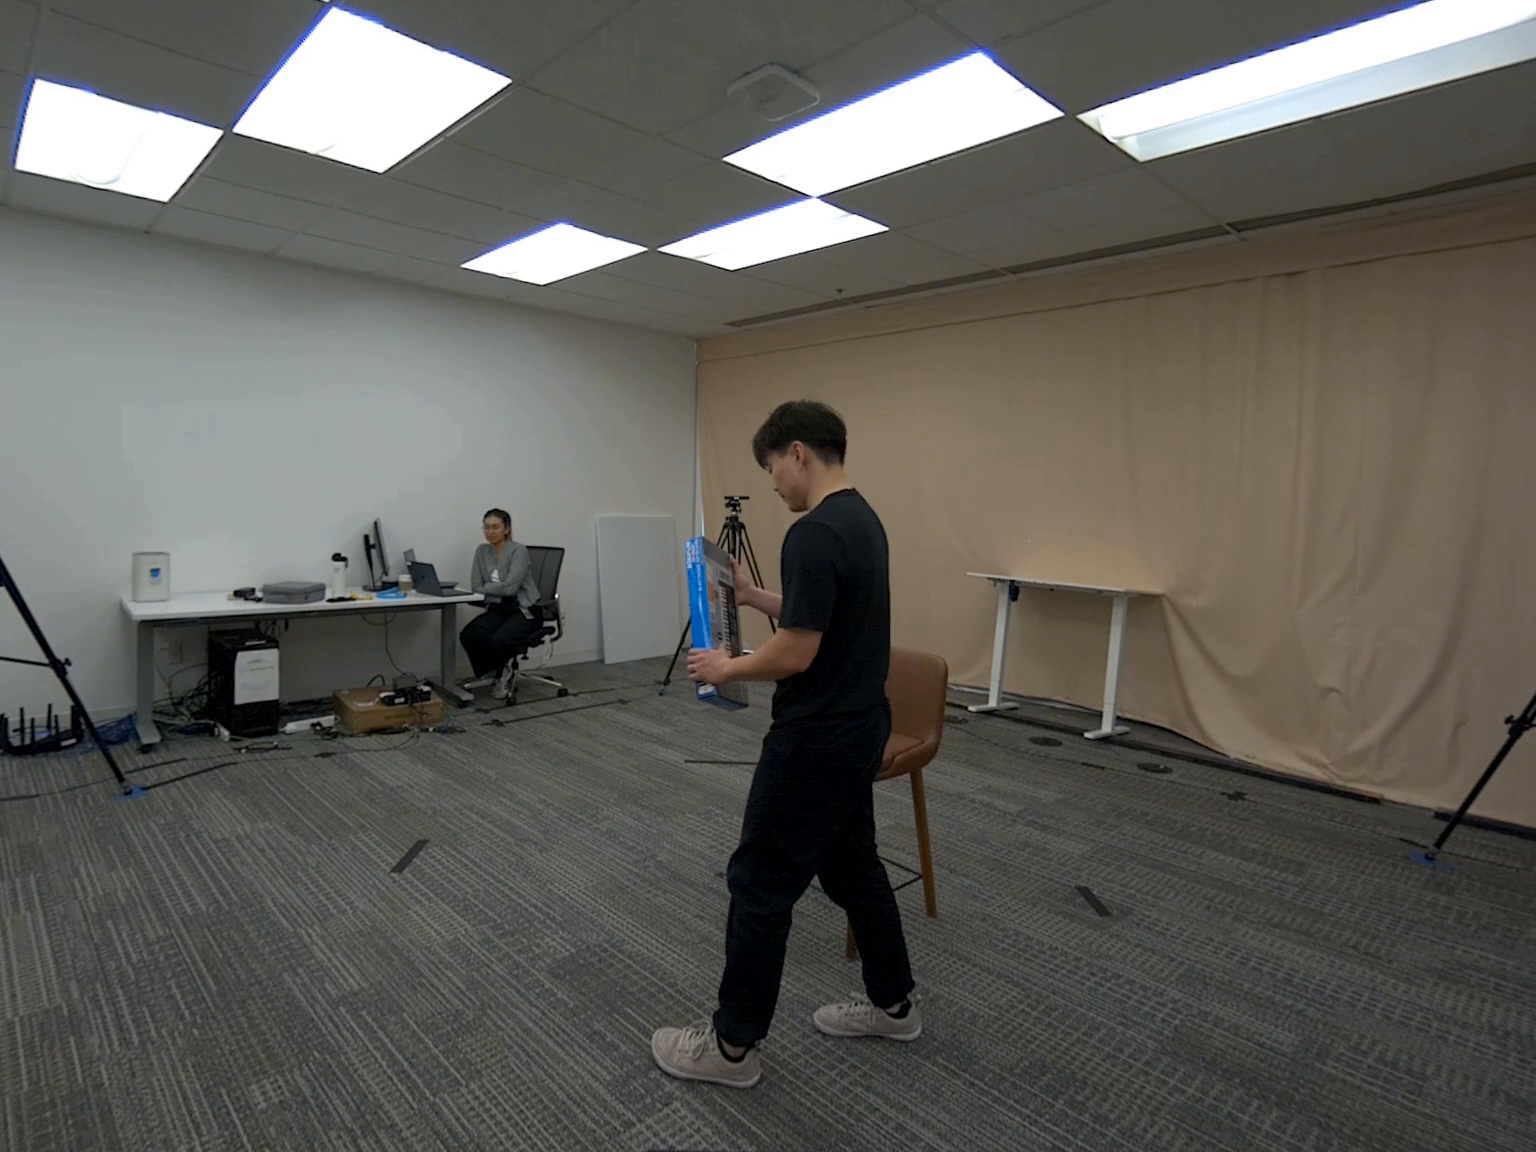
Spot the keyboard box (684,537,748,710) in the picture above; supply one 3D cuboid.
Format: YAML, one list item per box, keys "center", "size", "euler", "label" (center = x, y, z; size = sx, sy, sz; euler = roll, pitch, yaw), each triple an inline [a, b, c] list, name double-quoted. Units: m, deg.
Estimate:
- center: [-0.137, 0.128, 2.227]
  size: [0.060, 0.445, 0.171]
  euler: [-16, -26, 22]
  label: "keyboard box"
